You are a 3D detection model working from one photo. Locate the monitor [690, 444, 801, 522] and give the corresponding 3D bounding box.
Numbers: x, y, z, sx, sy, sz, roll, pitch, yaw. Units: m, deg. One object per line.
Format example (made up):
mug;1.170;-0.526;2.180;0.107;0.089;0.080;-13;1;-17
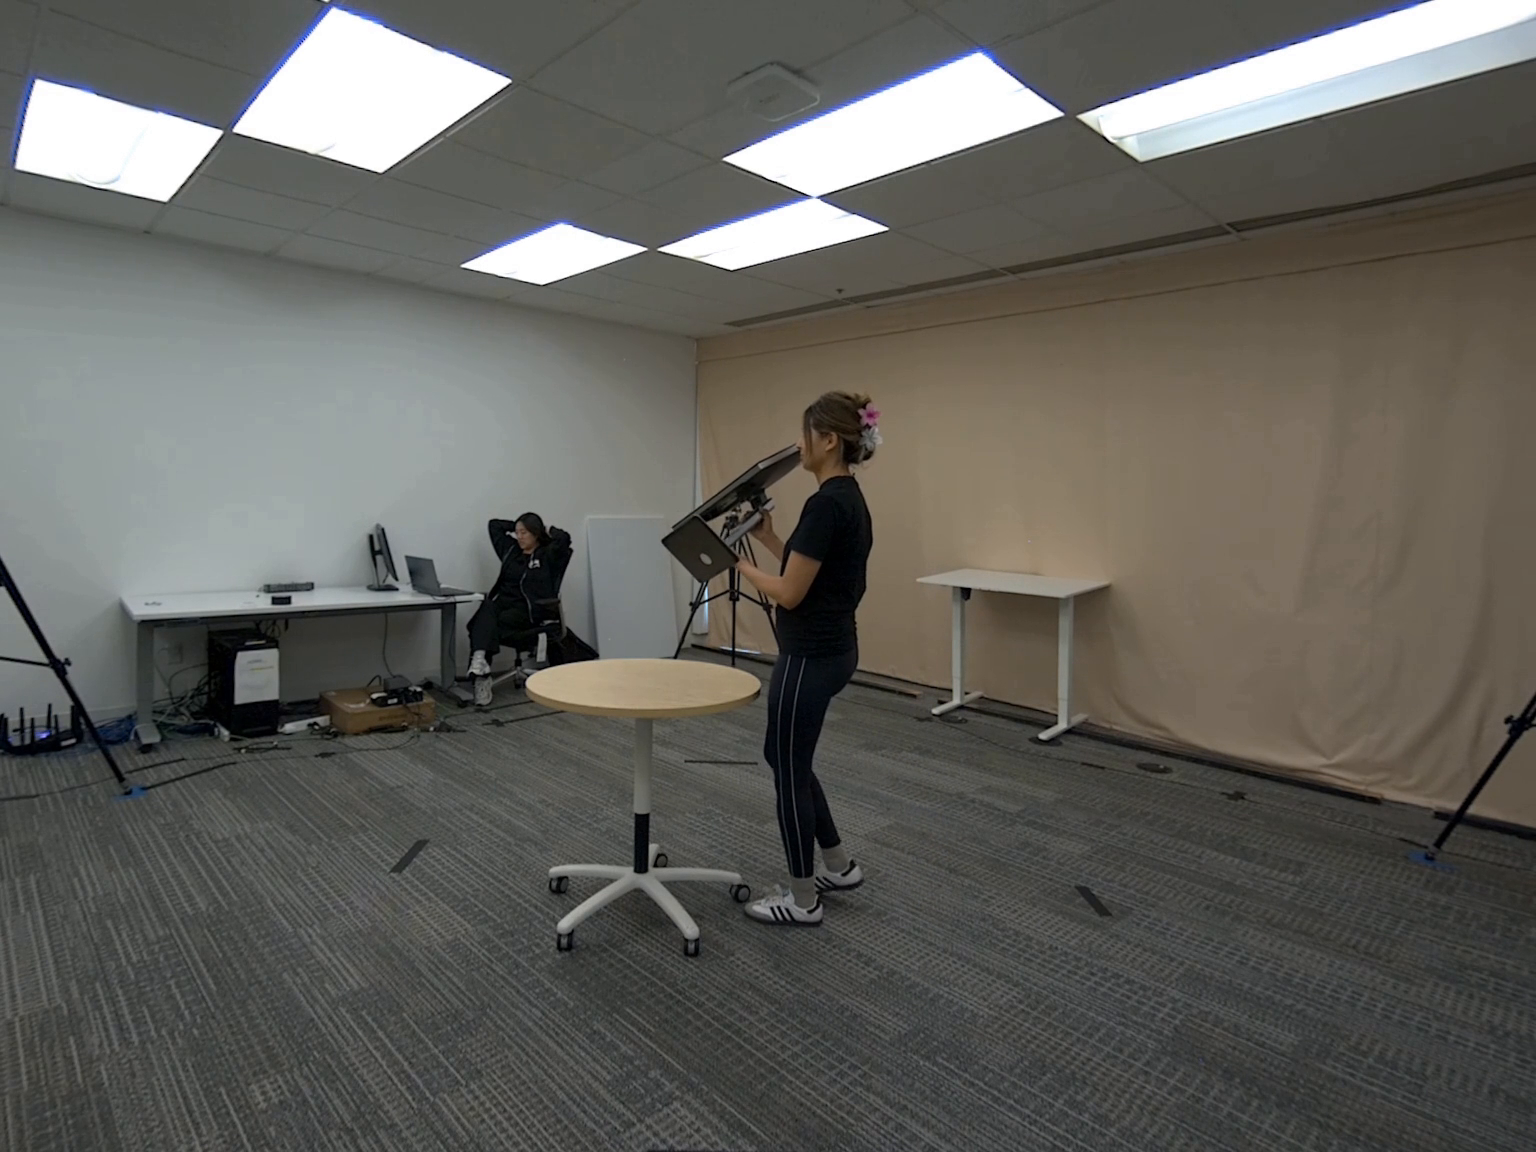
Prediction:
monitor;-0.106;-0.255;2.896;0.544;0.185;0.522;-29;15;51
